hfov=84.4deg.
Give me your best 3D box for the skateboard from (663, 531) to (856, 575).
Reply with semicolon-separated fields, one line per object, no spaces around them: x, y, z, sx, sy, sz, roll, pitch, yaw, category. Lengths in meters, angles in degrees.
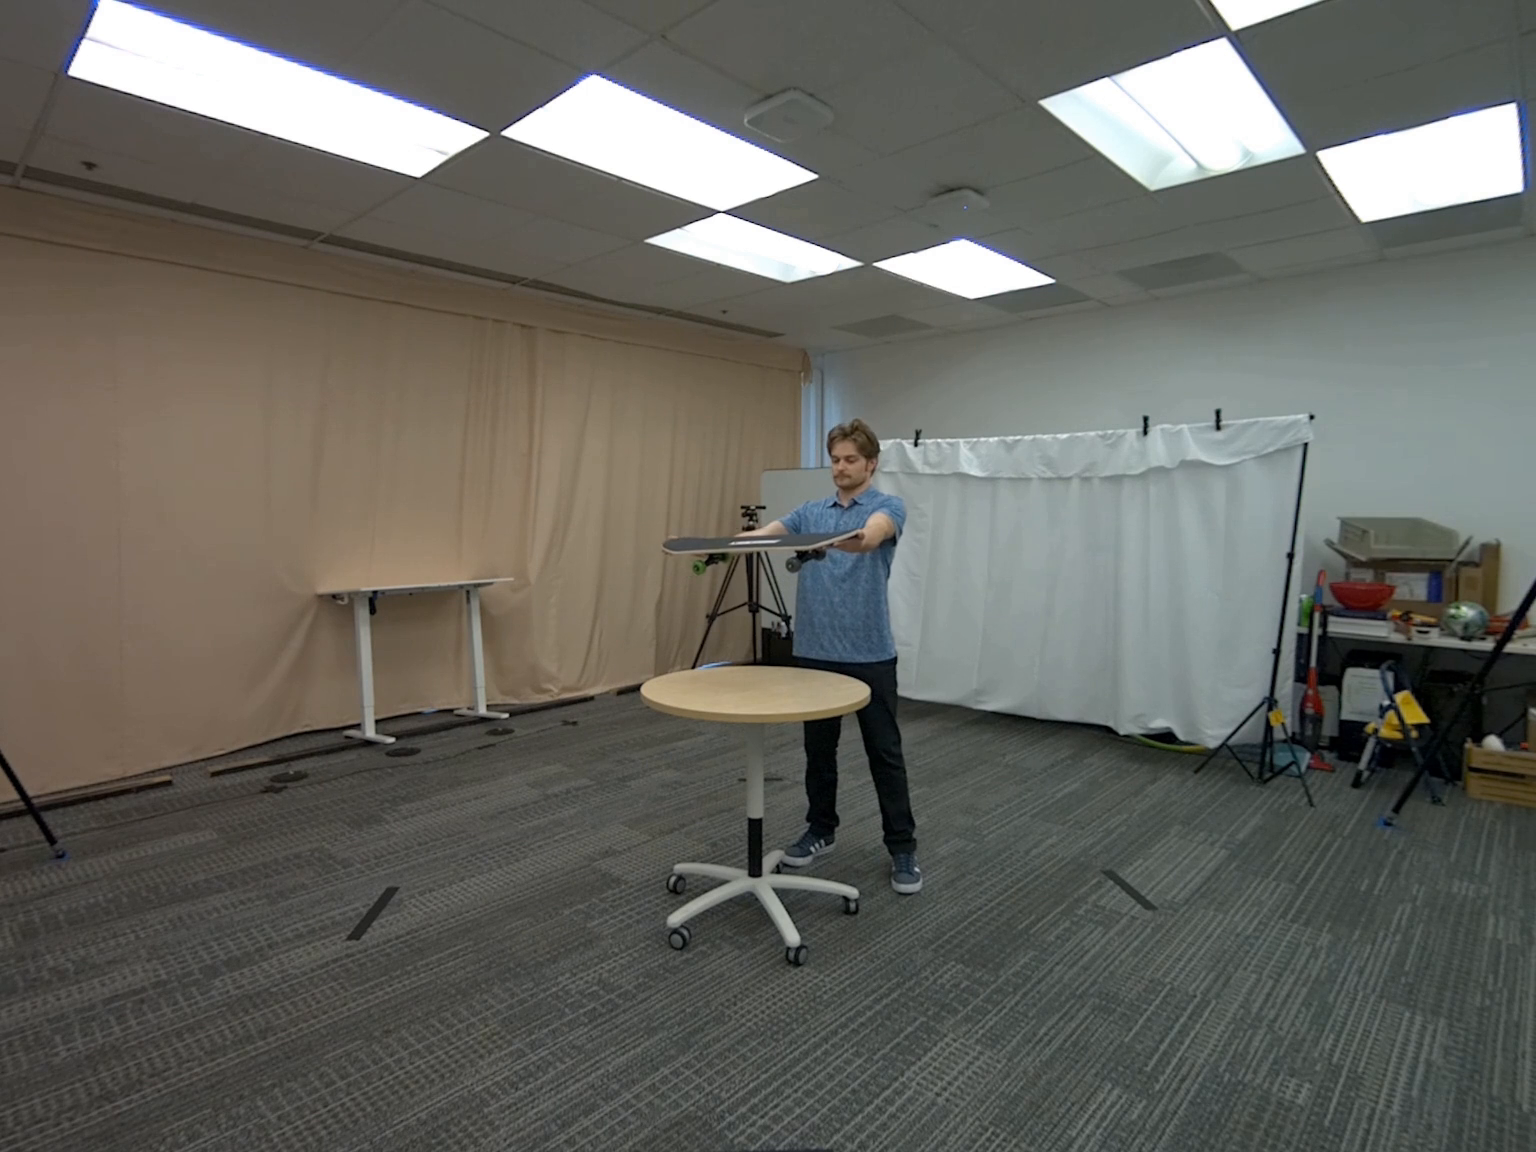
-0.030;-0.079;2.858;0.810;0.109;0.189;0;15;39;skateboard
